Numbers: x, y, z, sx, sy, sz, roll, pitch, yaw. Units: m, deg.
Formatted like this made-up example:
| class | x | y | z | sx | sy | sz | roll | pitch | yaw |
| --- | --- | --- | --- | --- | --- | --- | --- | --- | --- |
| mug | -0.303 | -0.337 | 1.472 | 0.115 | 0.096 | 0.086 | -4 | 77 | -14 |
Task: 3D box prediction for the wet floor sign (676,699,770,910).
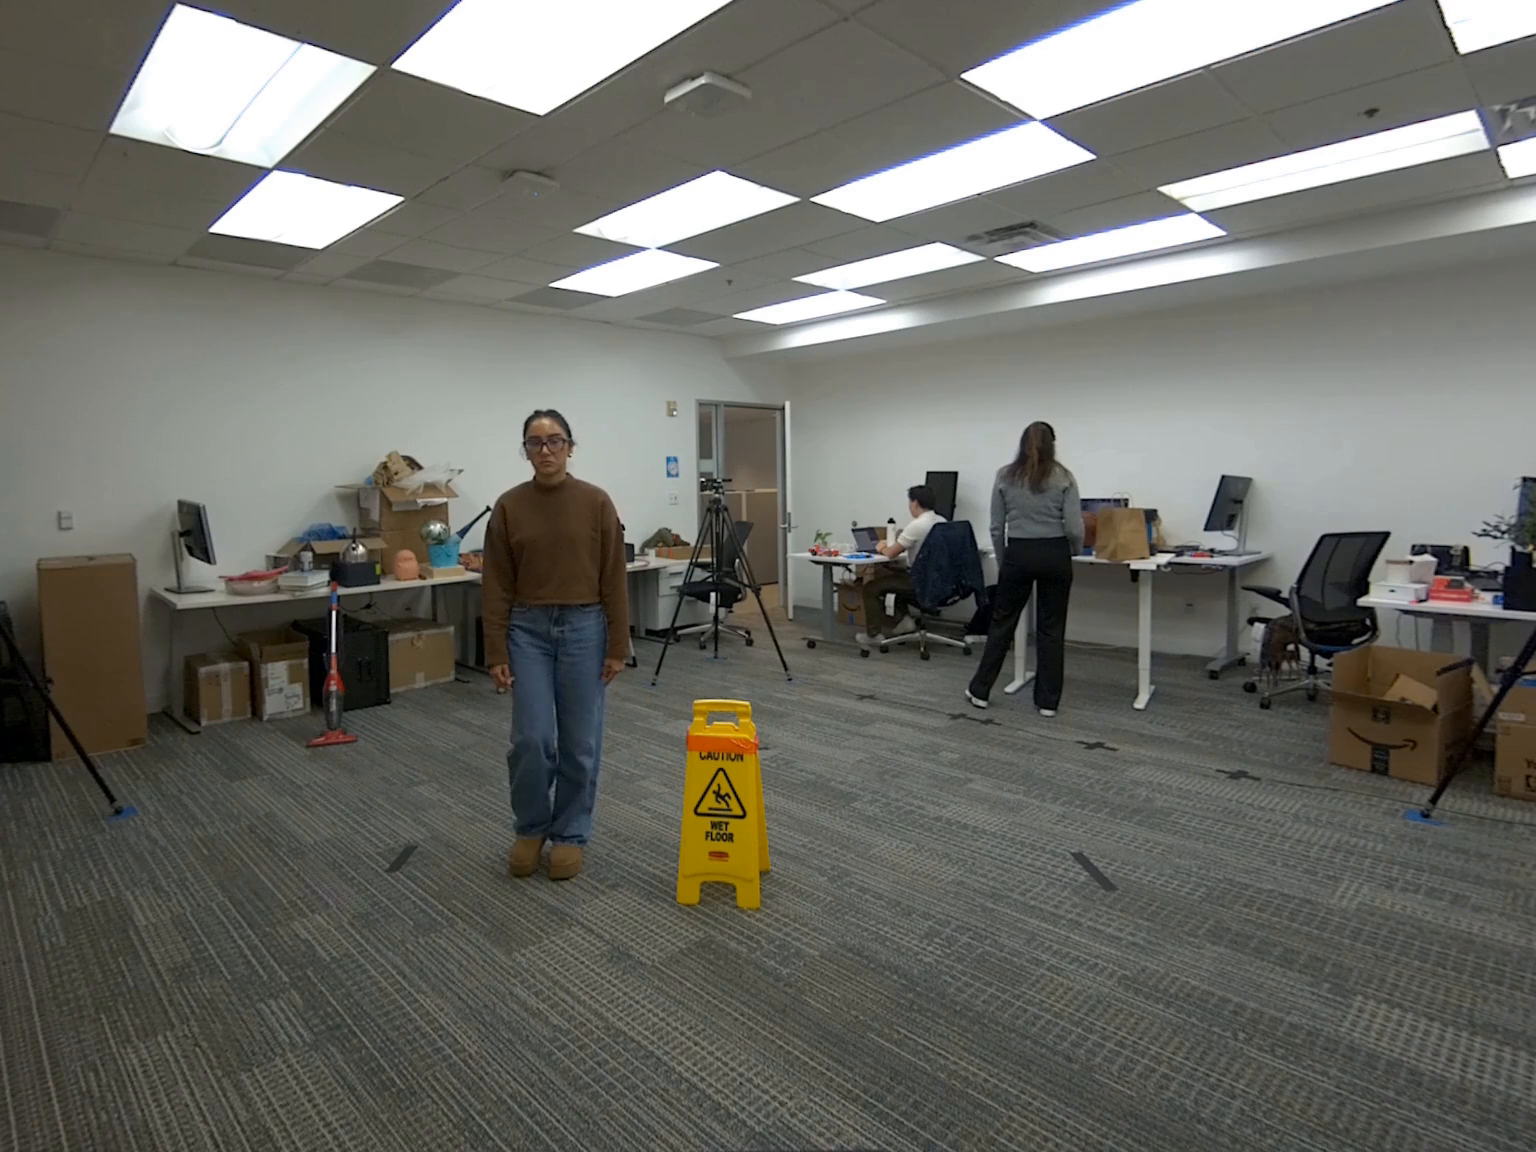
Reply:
| class | x | y | z | sx | sy | sz | roll | pitch | yaw |
| --- | --- | --- | --- | --- | --- | --- | --- | --- | --- |
| wet floor sign | -0.153 | 0.743 | 2.909 | 0.285 | 0.643 | 0.288 | -2 | 5 | 8 |
